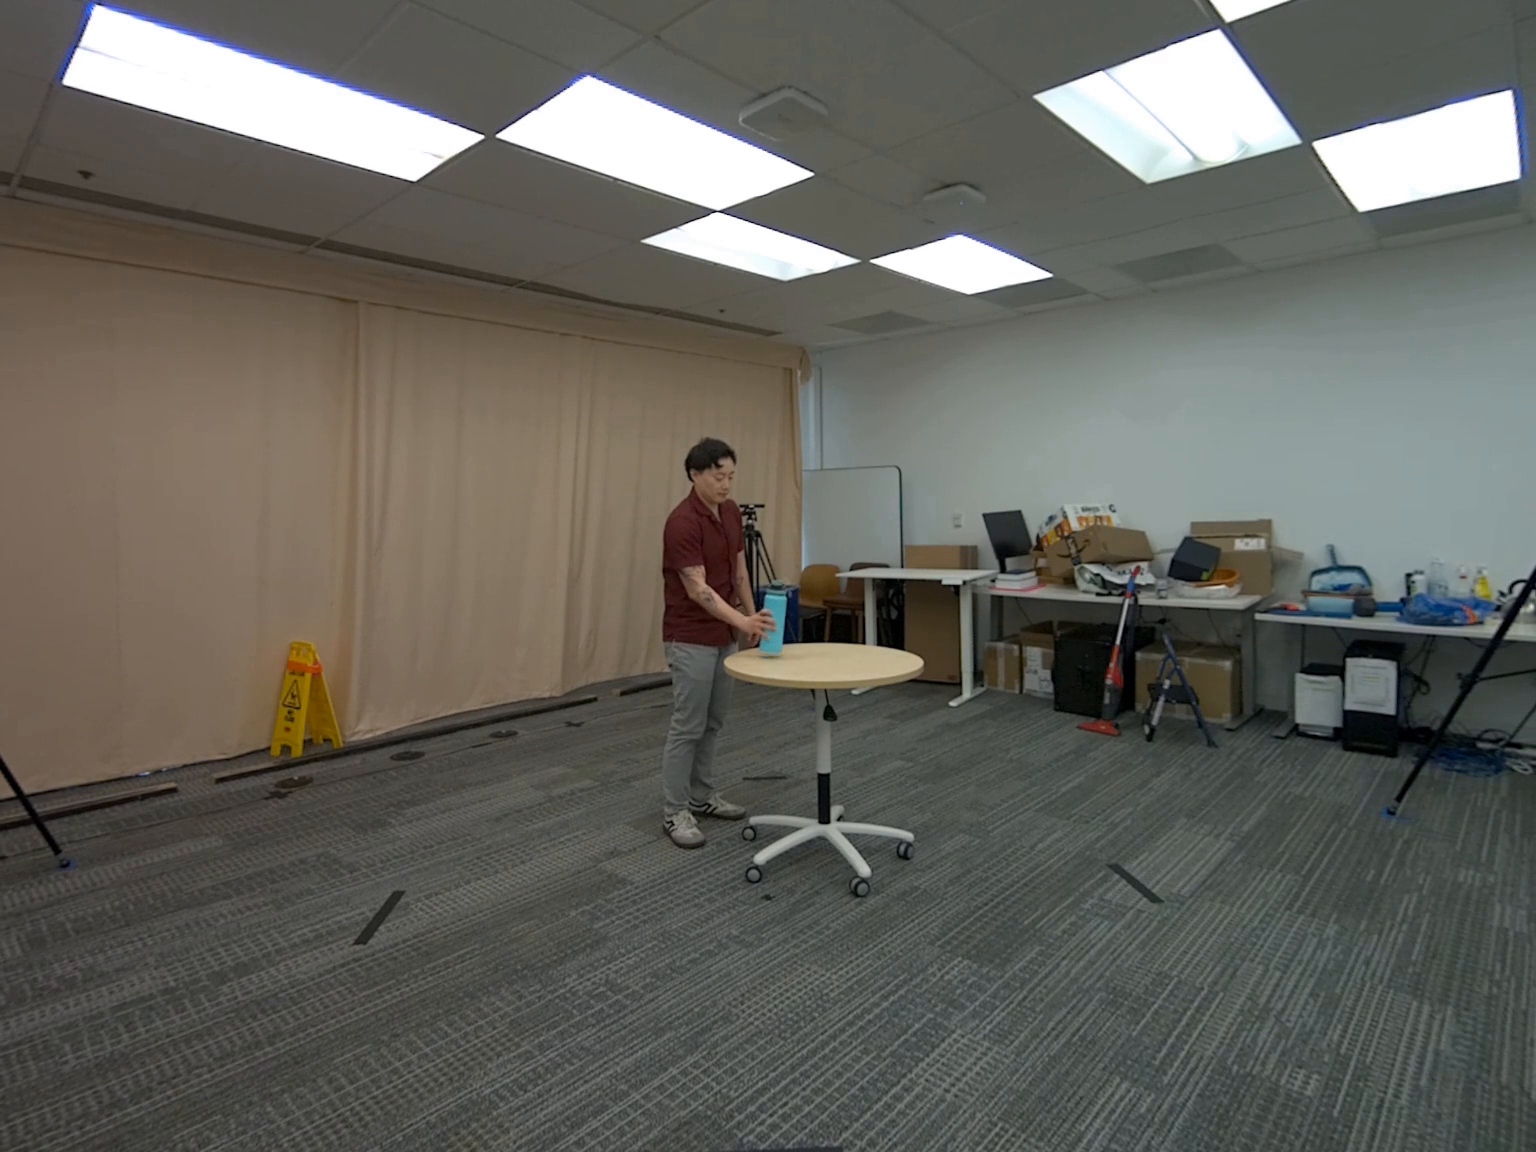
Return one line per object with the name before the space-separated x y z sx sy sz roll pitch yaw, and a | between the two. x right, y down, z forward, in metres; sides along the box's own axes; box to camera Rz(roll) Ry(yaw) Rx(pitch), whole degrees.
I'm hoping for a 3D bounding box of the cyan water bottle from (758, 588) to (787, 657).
cyan water bottle | 0.026 0.149 3.340 0.092 0.283 0.092 4 2 -2
